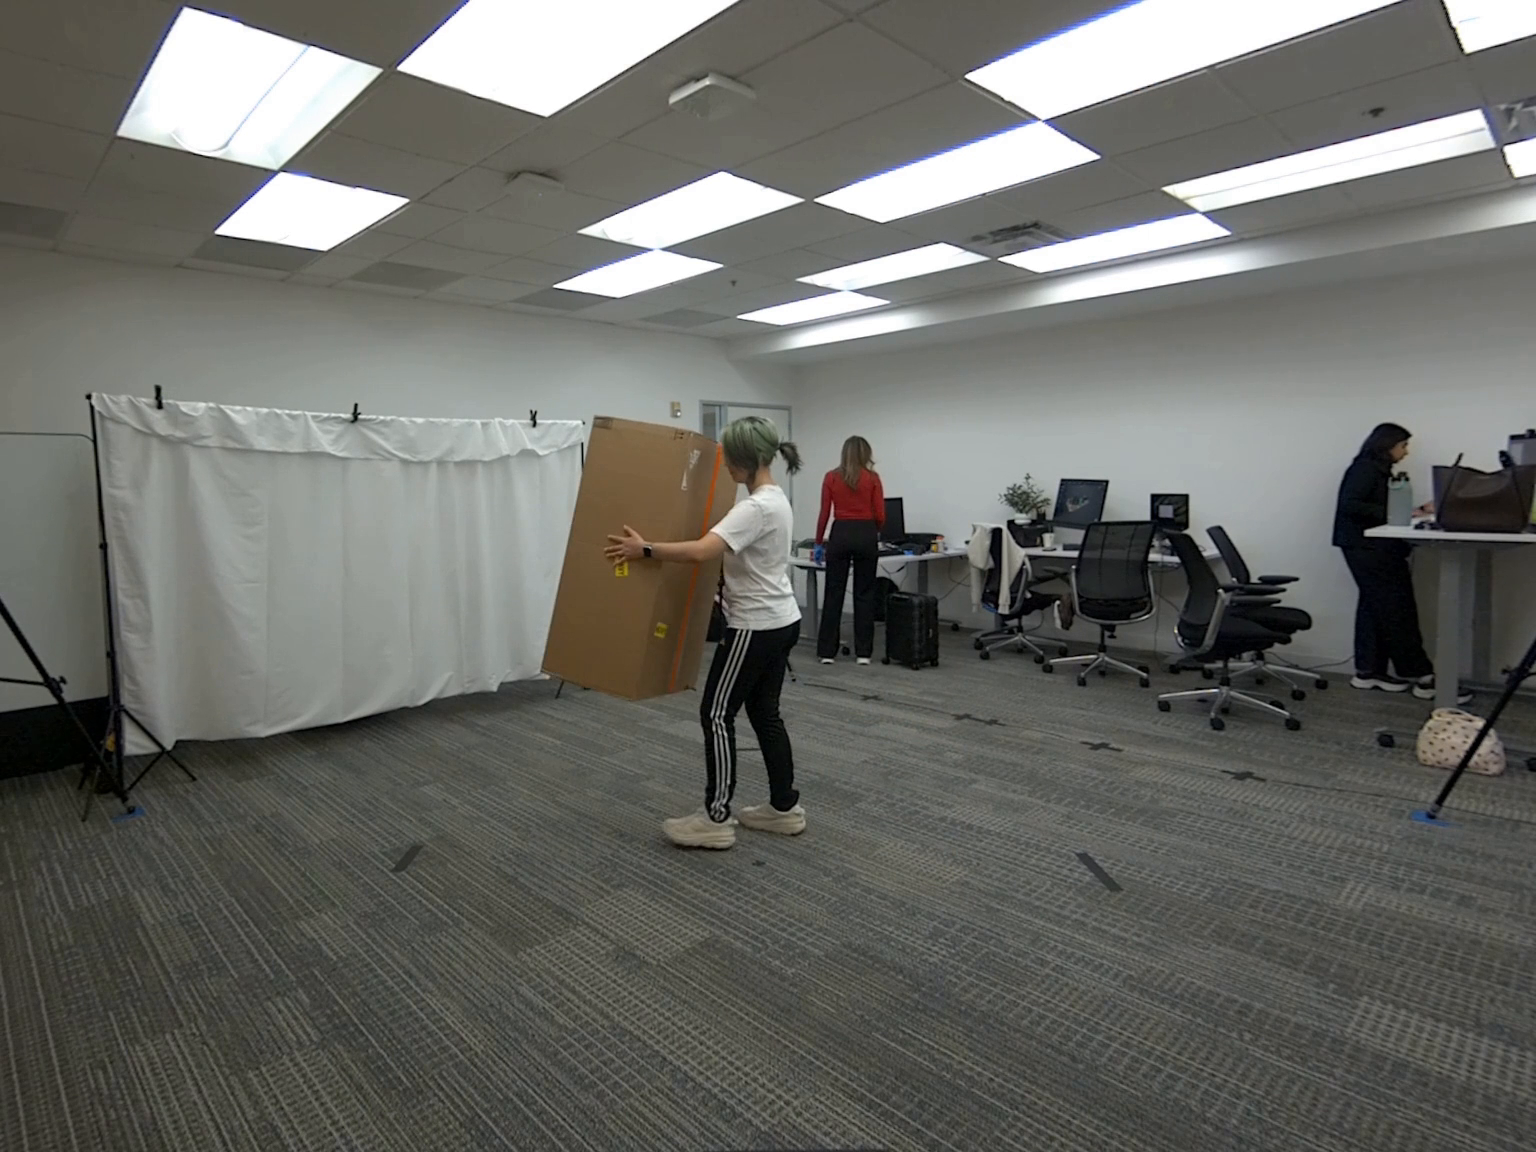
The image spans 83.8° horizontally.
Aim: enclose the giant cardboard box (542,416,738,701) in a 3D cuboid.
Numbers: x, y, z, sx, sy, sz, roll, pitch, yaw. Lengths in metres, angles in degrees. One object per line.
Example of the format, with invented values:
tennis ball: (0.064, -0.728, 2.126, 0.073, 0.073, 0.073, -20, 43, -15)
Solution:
giant cardboard box: (-0.487, -0.068, 3.479, 0.457, 1.027, 0.571, 11, 0, 20)
